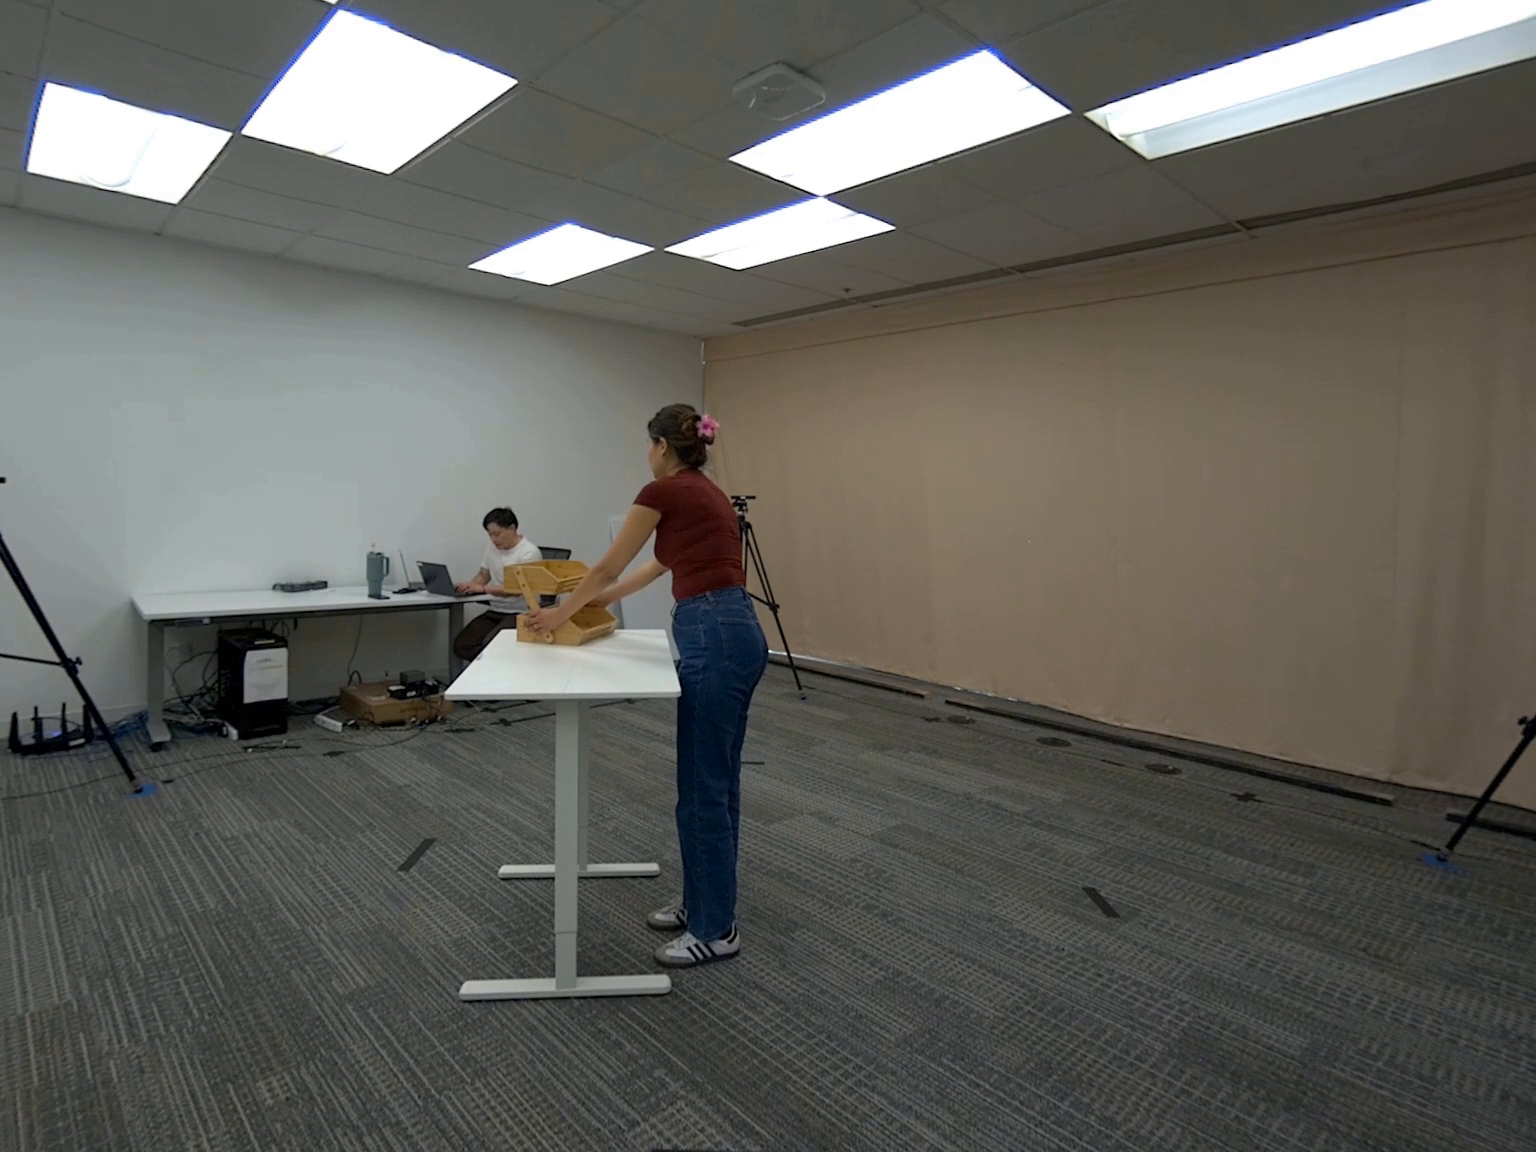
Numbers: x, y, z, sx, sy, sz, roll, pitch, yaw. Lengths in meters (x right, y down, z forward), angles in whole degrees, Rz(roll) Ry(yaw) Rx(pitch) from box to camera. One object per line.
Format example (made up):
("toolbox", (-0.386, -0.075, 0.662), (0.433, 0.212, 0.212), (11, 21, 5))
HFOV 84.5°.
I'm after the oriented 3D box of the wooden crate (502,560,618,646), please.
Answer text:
("wooden crate", (-0.730, 0.089, 2.974), (0.306, 0.272, 0.321), (3, 4, 14))
